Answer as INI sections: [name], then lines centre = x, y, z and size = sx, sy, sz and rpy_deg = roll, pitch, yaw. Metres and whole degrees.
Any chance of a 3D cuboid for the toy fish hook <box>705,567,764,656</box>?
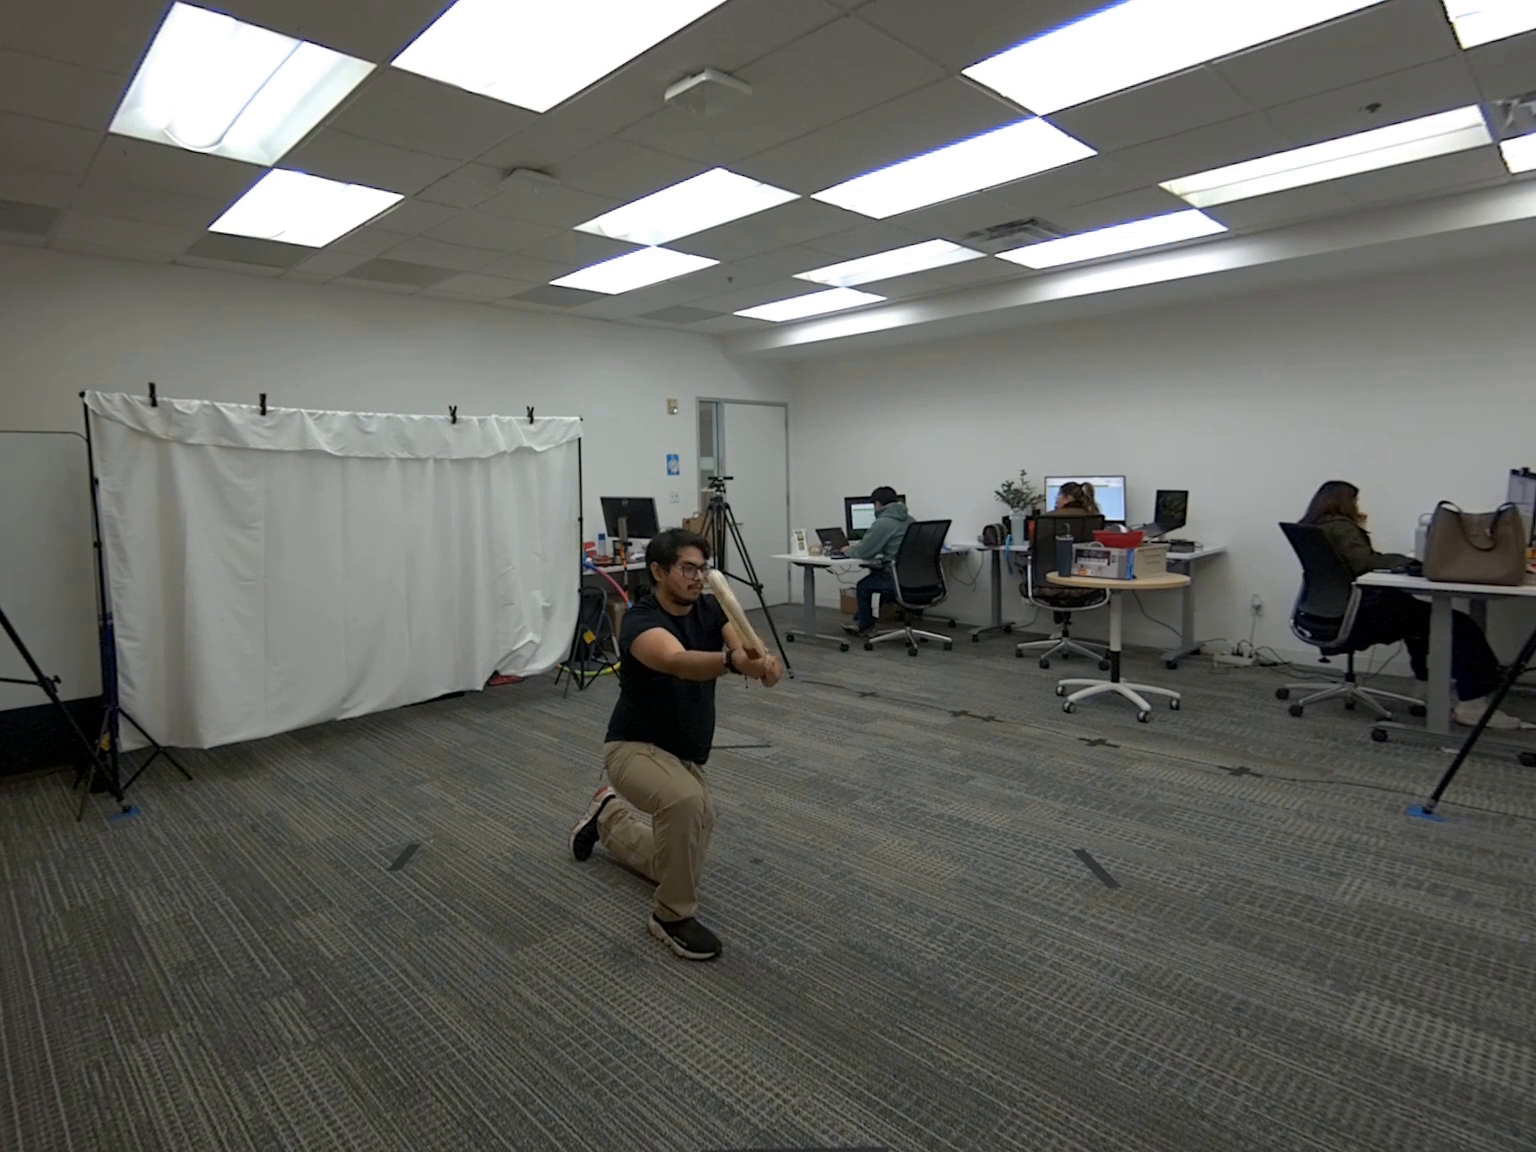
[toy fish hook]
centre = -0.035, 0.182, 2.152
size = 0.048, 0.488, 0.233
rpy_deg = -27, 48, -1
